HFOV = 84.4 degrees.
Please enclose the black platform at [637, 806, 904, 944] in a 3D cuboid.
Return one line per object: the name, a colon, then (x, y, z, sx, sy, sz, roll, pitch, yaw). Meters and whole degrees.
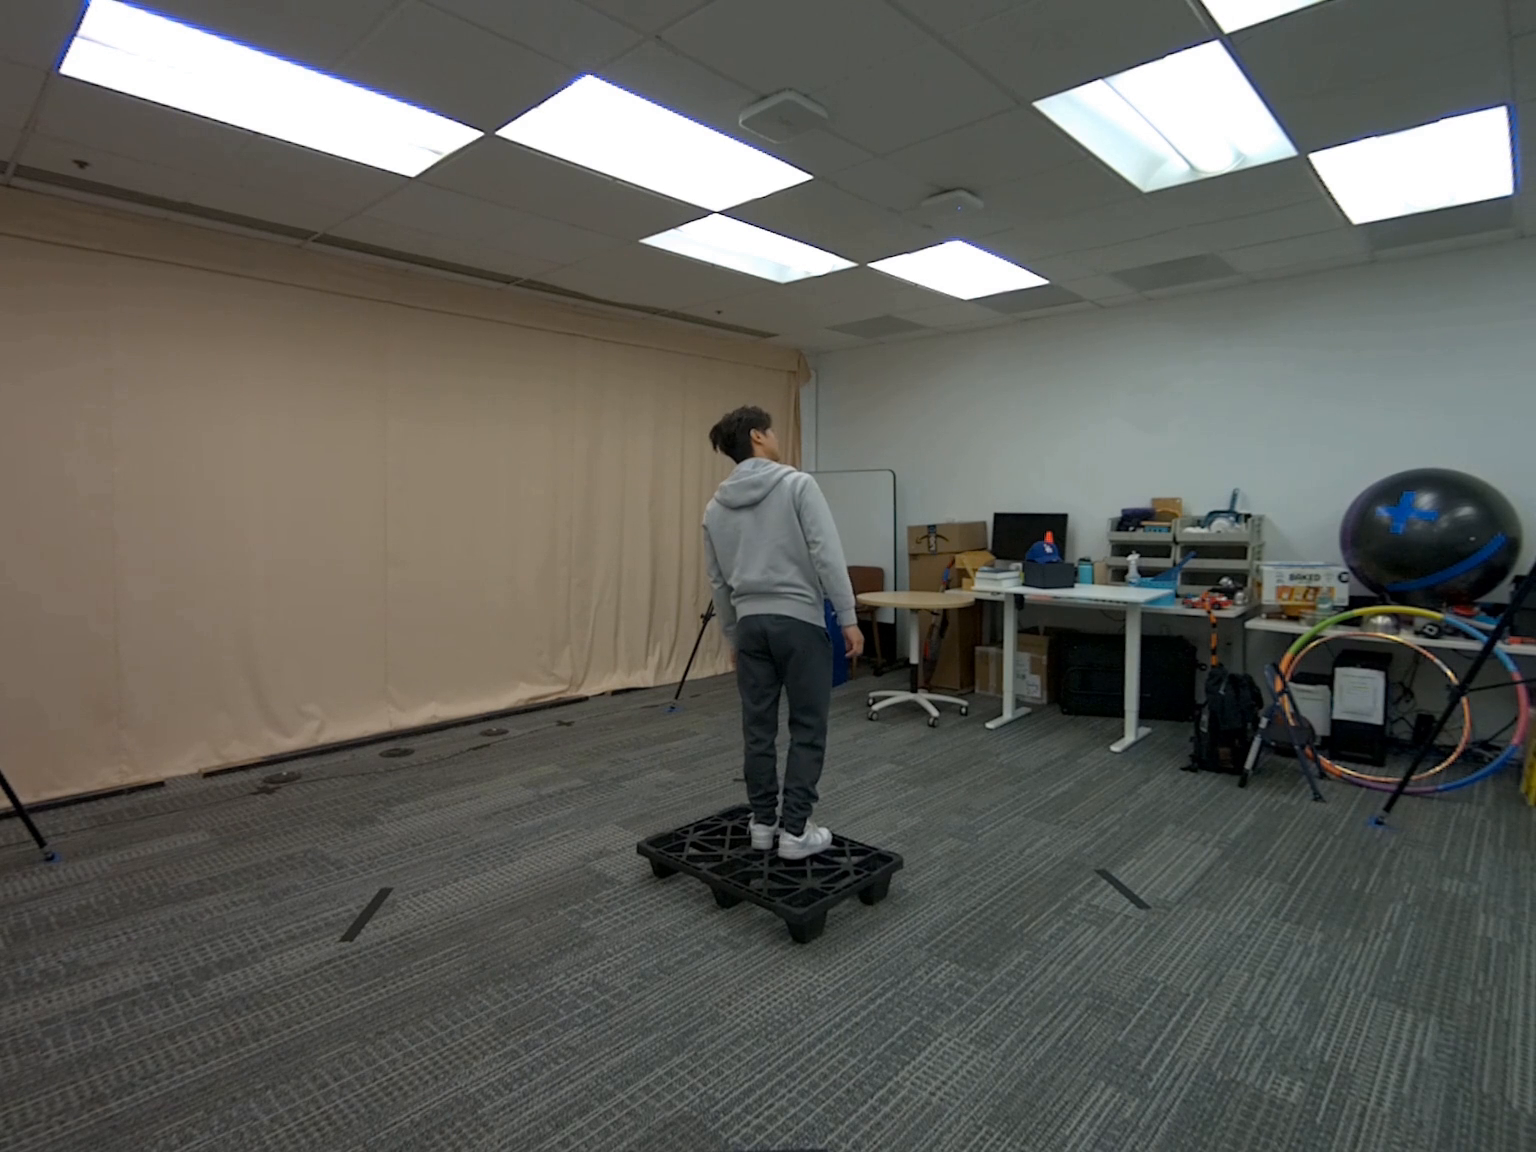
black platform: (-0.001, 1.069, 3.080, 0.832, 0.143, 0.587, 4, 7, 44)
